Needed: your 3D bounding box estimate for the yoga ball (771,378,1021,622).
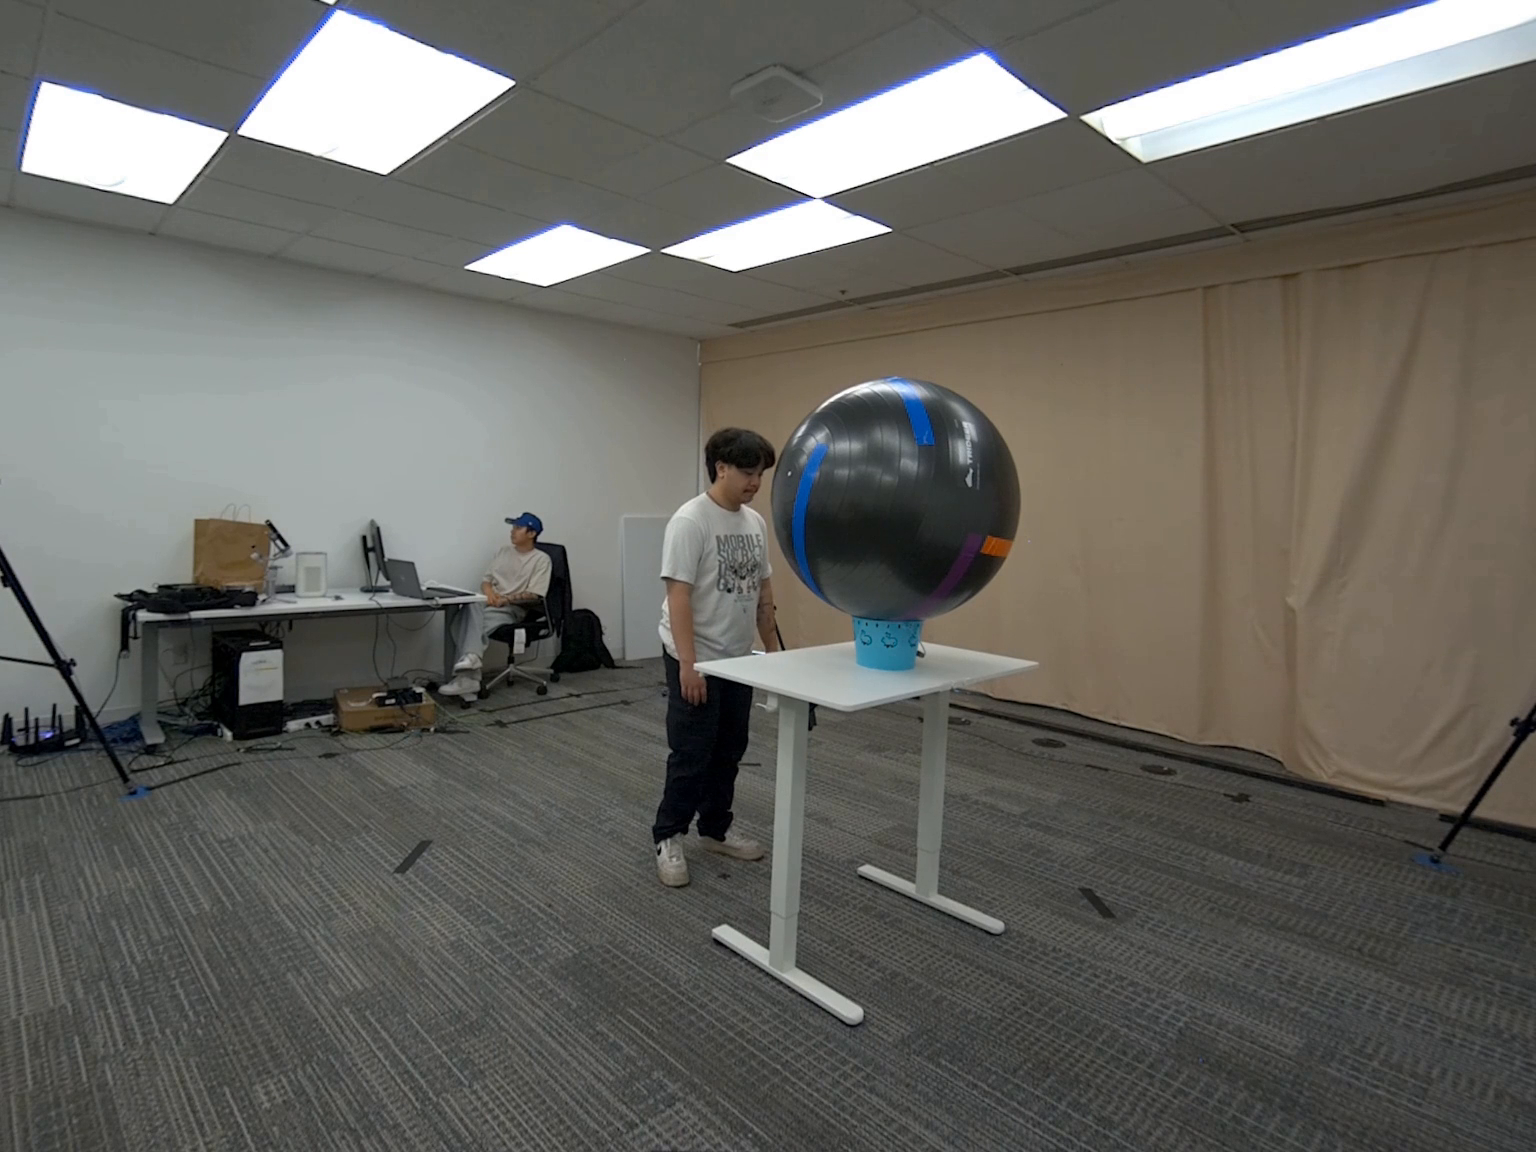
[{"bbox_3d":[0.386,-0.221,2.619,0.757,0.756,0.761,1,4,-1],"label":"yoga ball"}]
